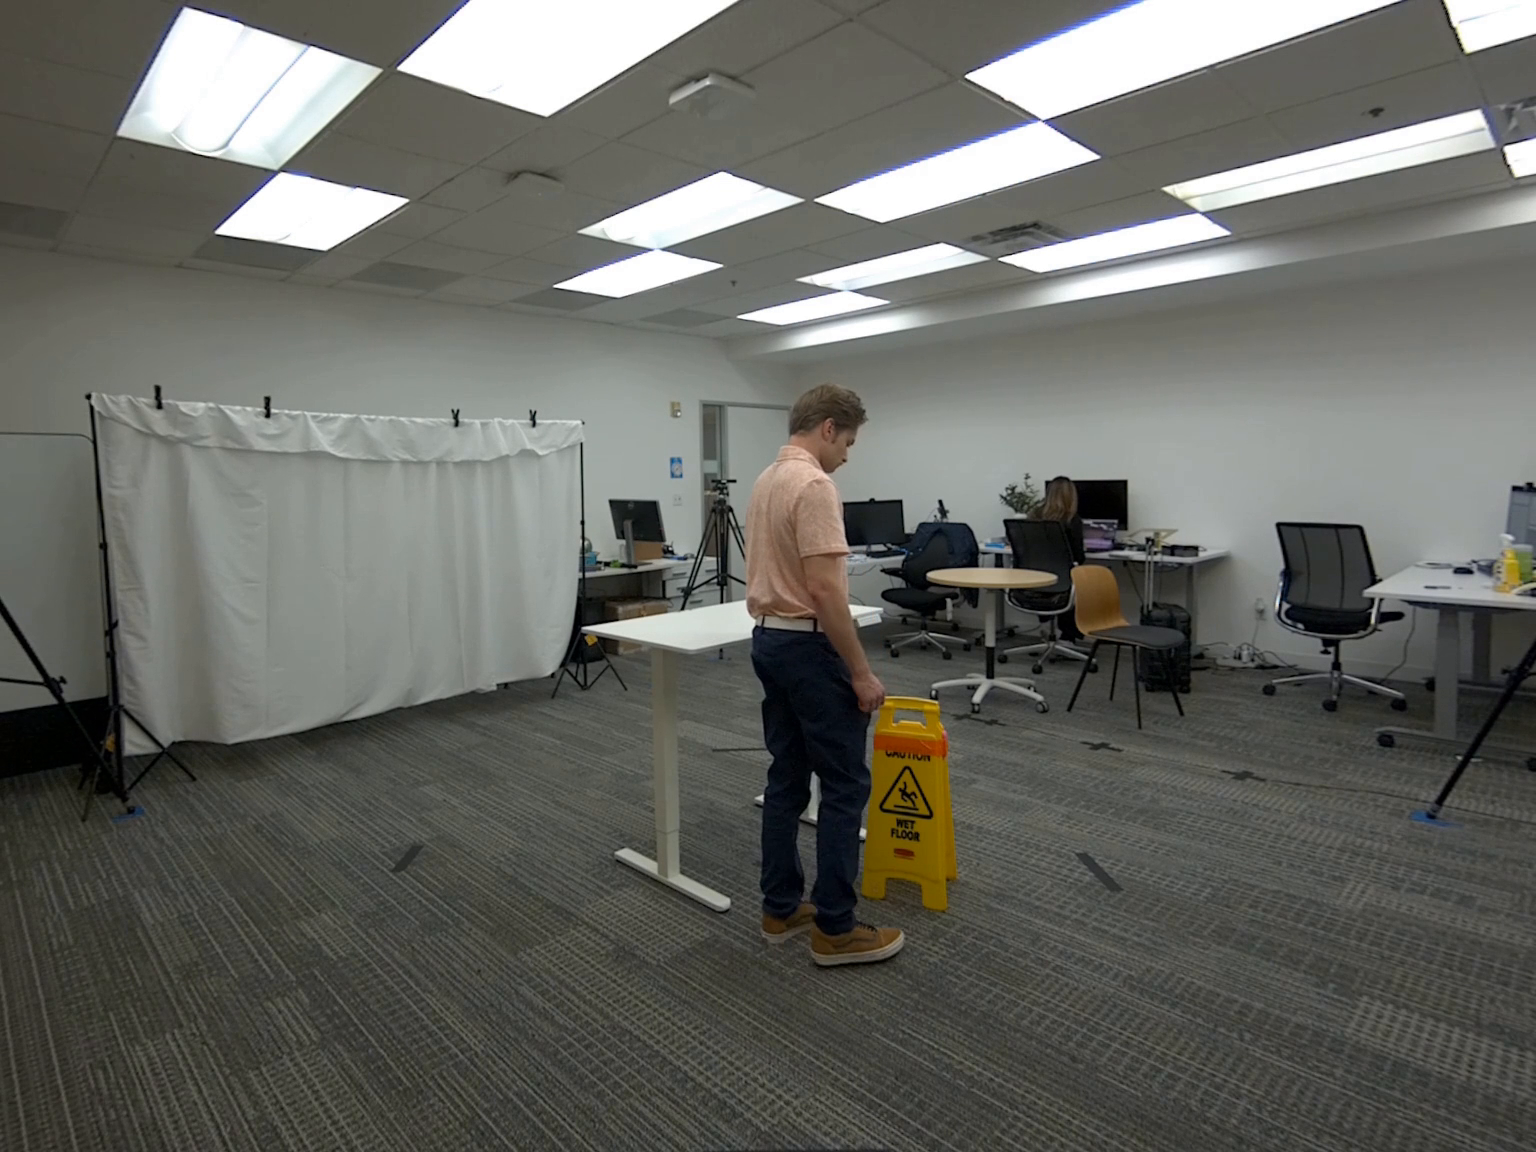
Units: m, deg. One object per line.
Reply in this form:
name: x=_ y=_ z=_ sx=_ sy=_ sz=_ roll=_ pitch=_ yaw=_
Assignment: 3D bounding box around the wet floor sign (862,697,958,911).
wet floor sign: x=0.479 y=0.738 z=2.885 sx=0.288 sy=0.644 sz=0.285 roll=0 pitch=4 yaw=20
